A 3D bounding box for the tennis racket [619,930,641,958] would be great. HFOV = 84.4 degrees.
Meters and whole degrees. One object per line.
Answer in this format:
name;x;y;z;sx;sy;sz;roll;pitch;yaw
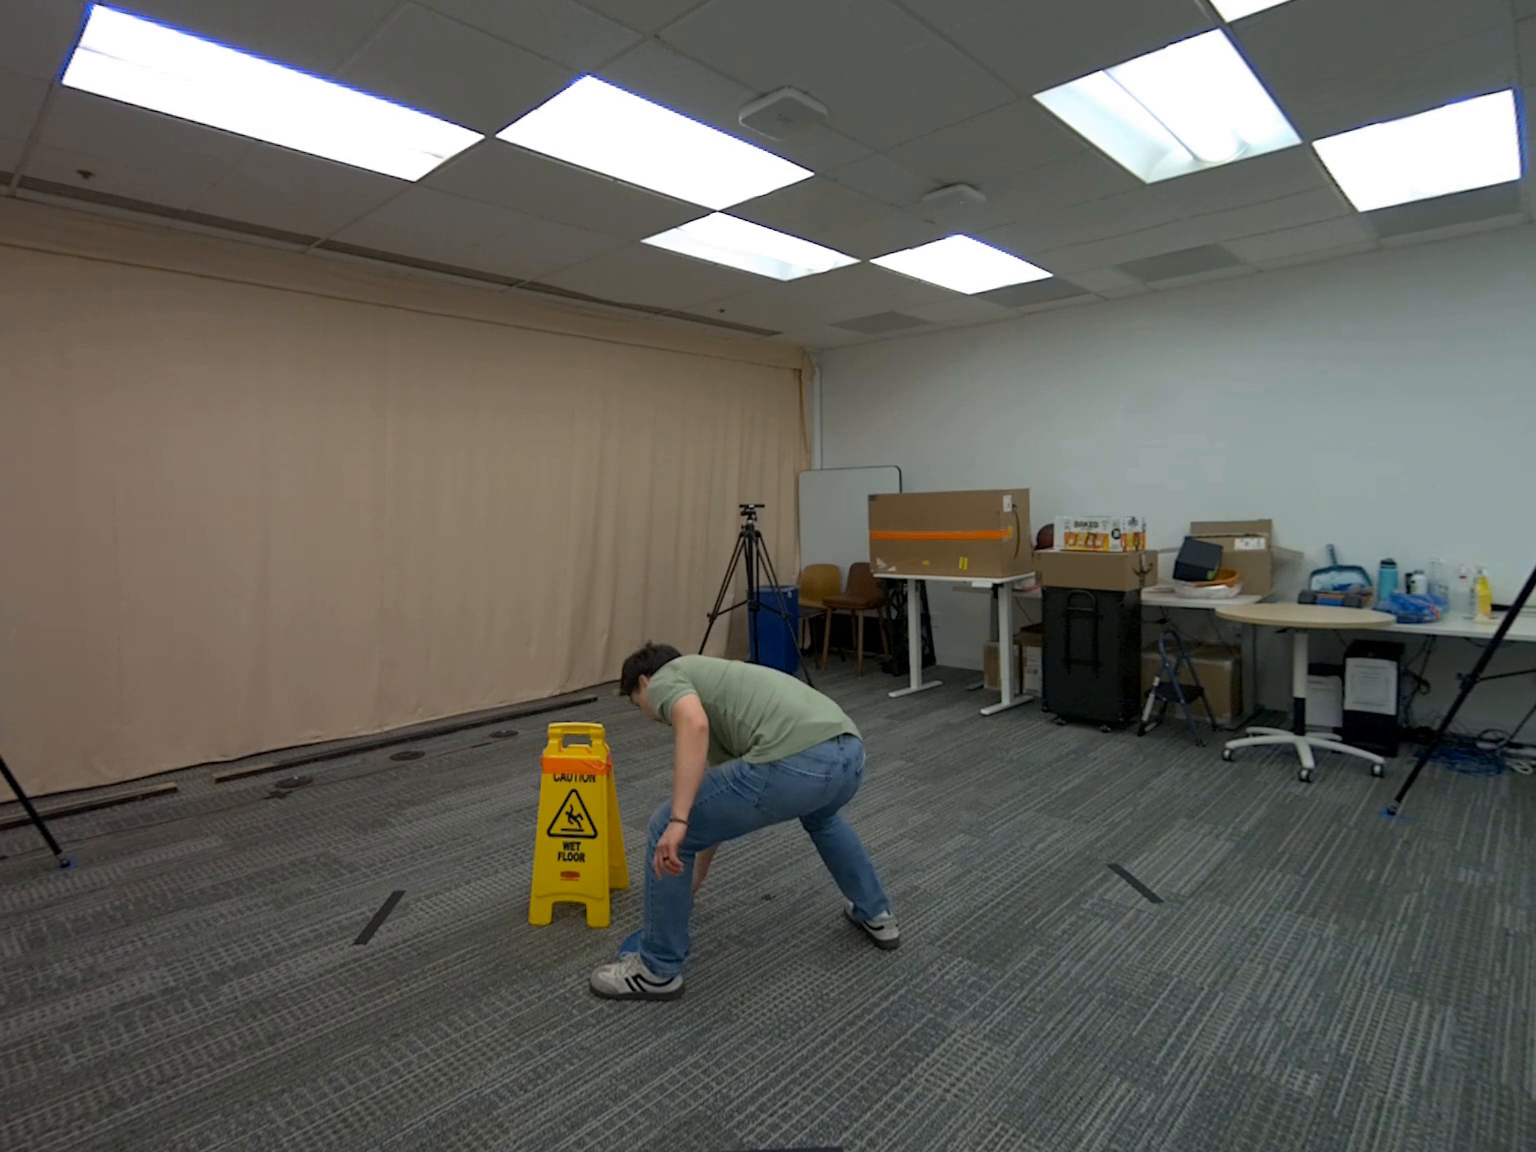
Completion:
tennis racket;-0.332;1.158;2.729;0.218;0.031;0.427;-1;7;16
